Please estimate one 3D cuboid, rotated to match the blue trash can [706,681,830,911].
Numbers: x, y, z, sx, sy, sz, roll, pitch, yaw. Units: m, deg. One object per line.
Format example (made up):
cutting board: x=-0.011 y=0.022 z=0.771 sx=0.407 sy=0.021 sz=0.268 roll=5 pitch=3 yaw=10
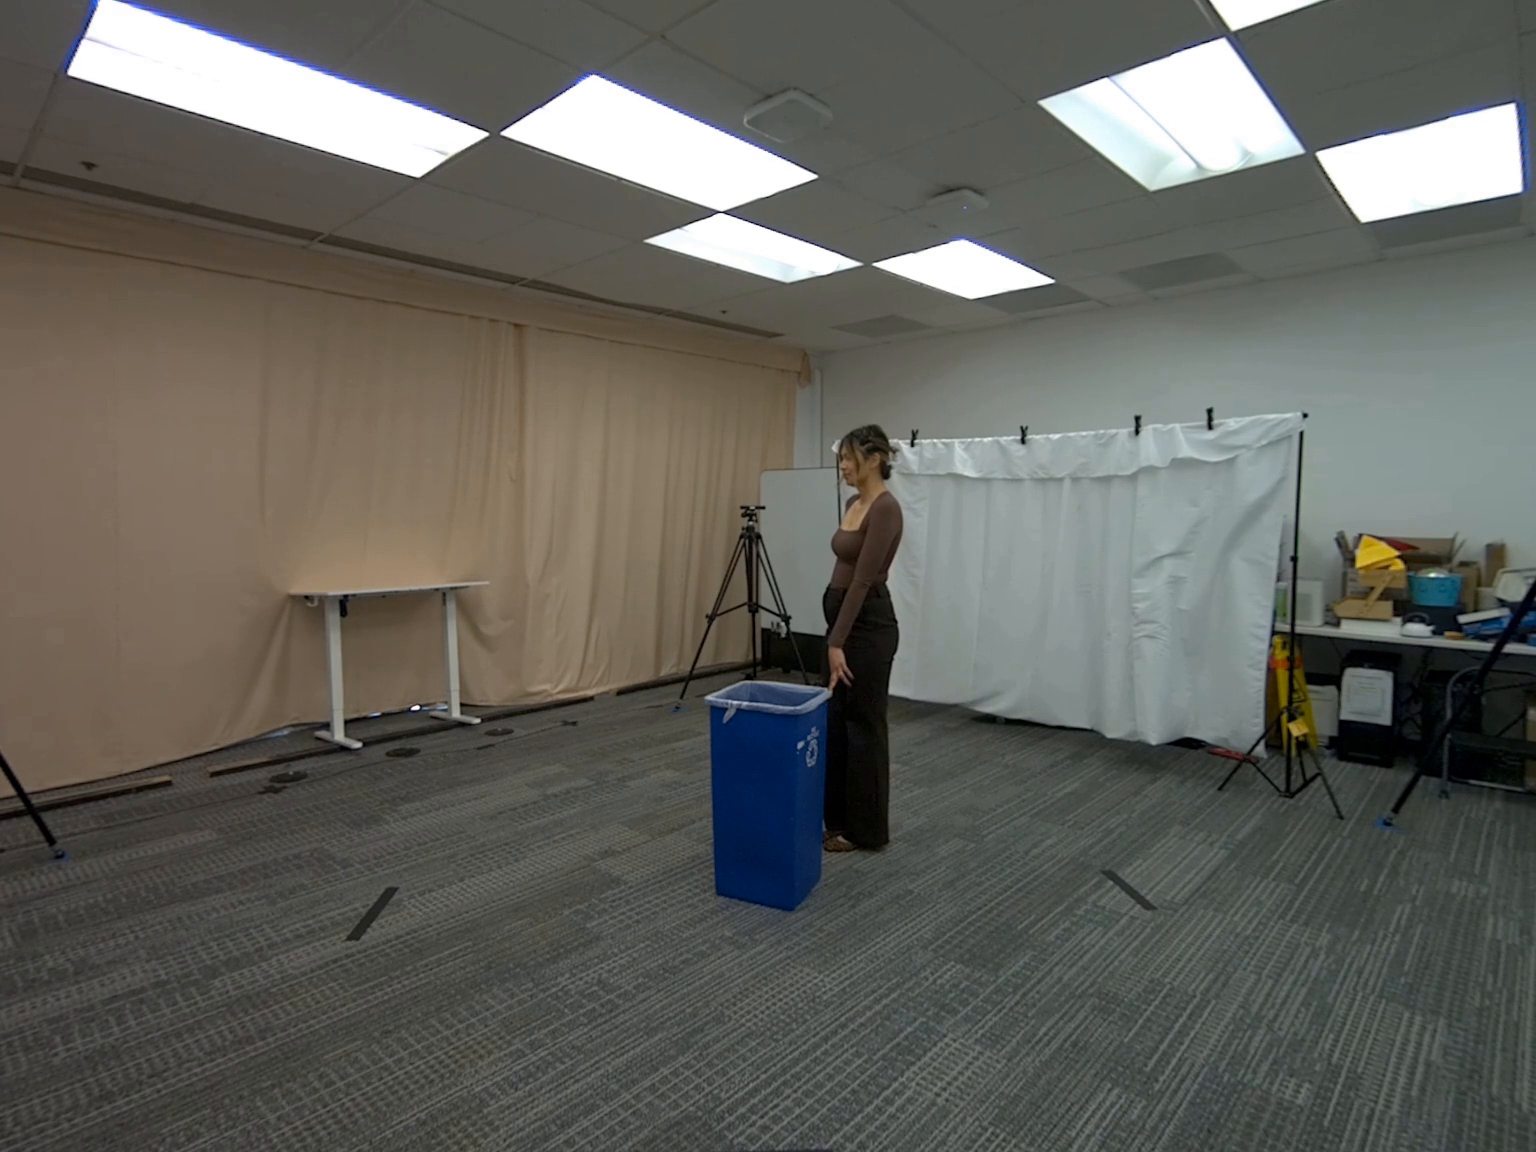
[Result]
blue trash can: x=0.006 y=0.777 z=3.071 sx=0.388 sy=0.712 sz=0.365 roll=2 pitch=4 yaw=25
